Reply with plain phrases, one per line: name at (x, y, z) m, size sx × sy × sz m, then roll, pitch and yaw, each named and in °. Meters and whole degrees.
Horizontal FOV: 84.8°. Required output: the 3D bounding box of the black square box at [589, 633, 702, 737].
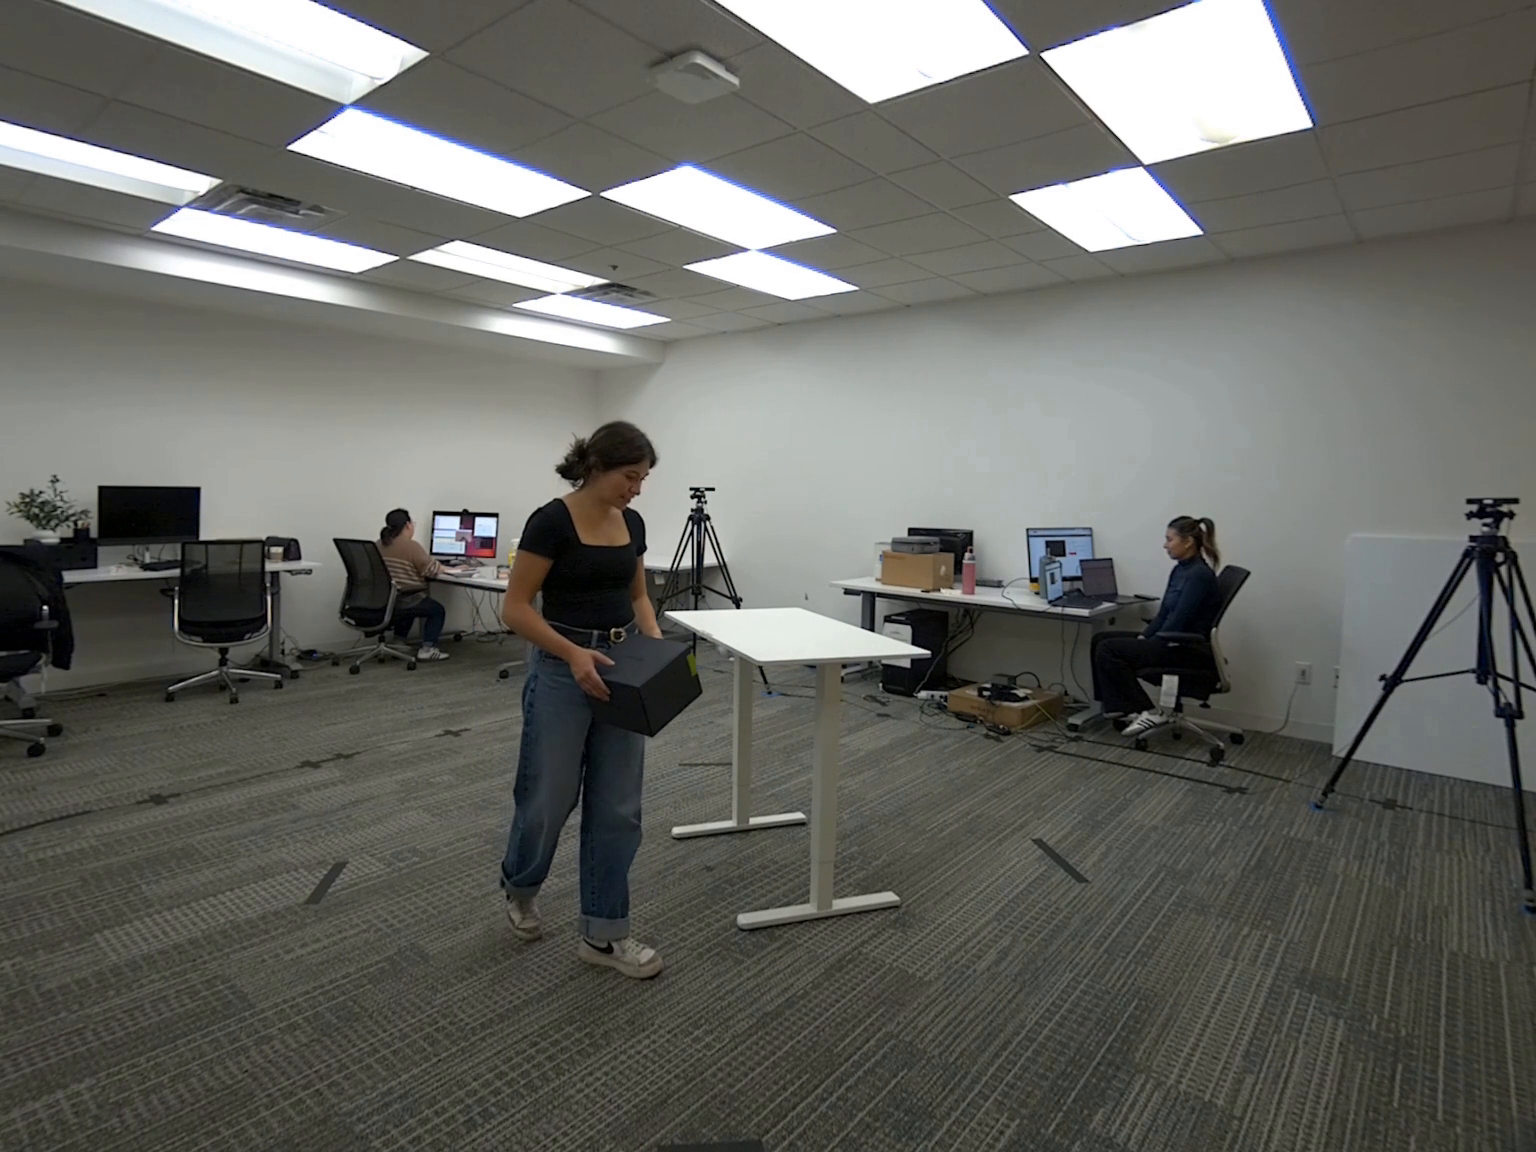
black square box at (-0.345, 0.286, 2.300) m, size 0.235 × 0.152 × 0.215 m, roll 5°, pitch 29°, yaw 37°
